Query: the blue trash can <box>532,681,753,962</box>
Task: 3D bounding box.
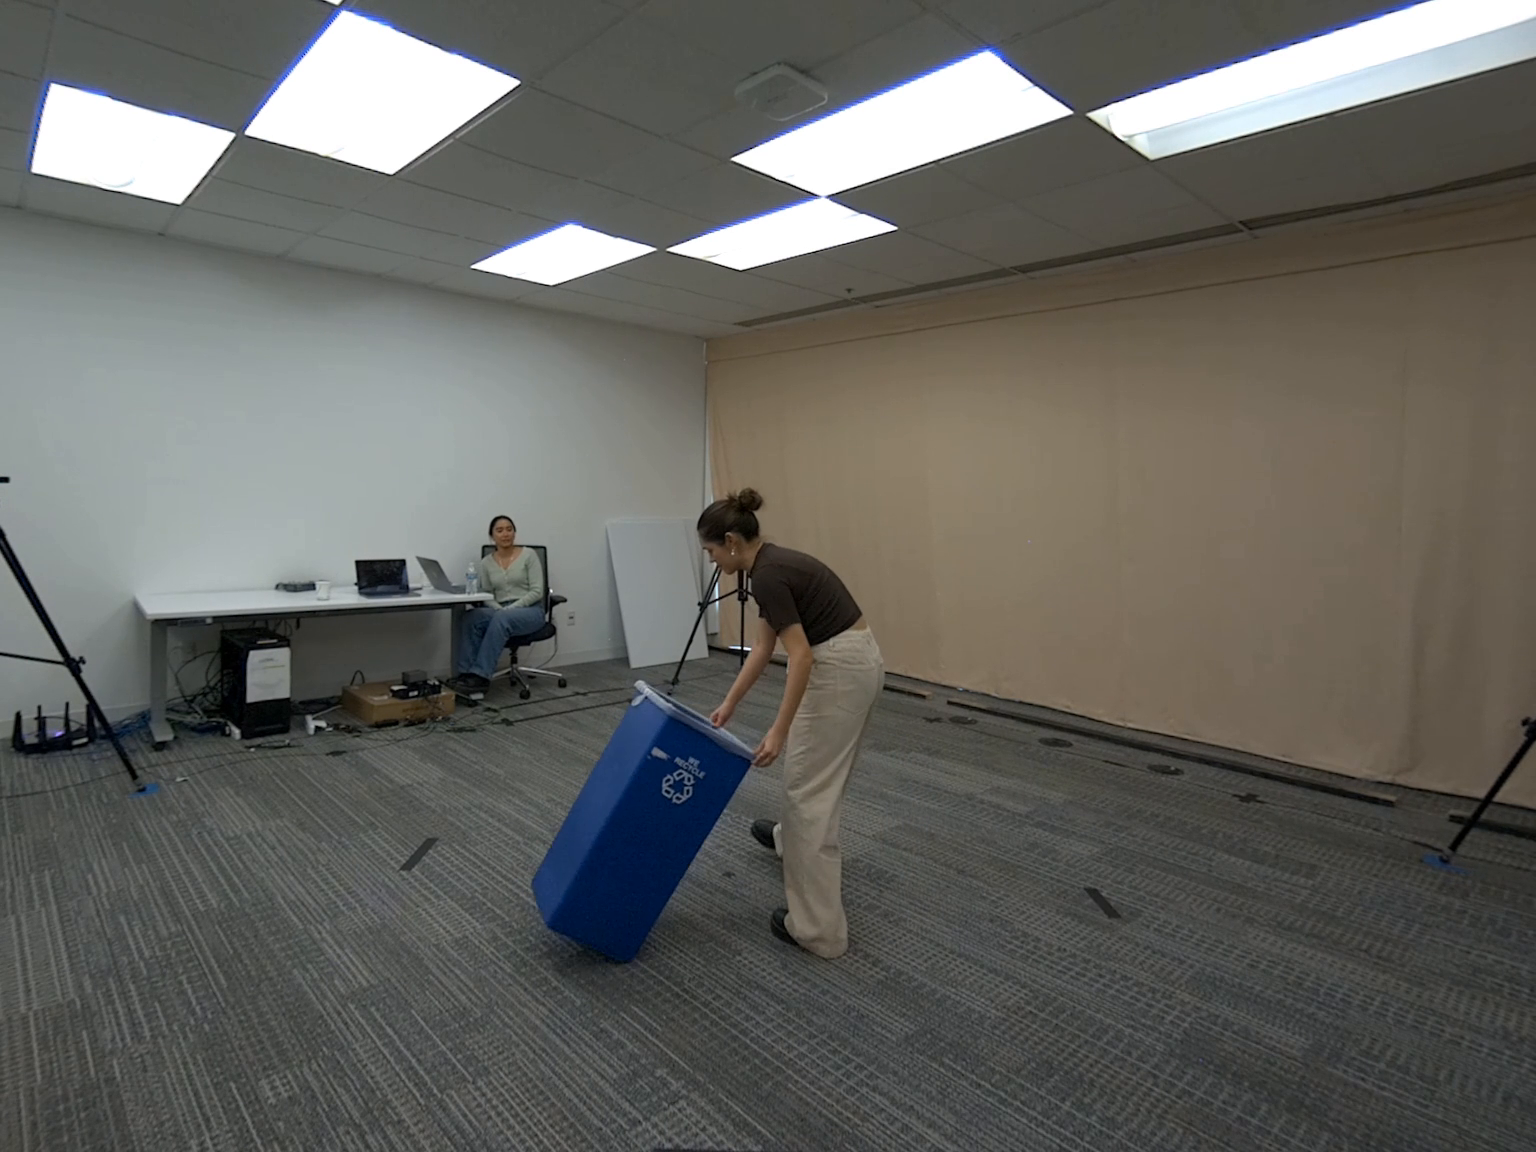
[{"bbox_3d":[-0.404,0.760,2.644,0.366,0.715,0.386,33,-9,-23],"label":"blue trash can"}]
